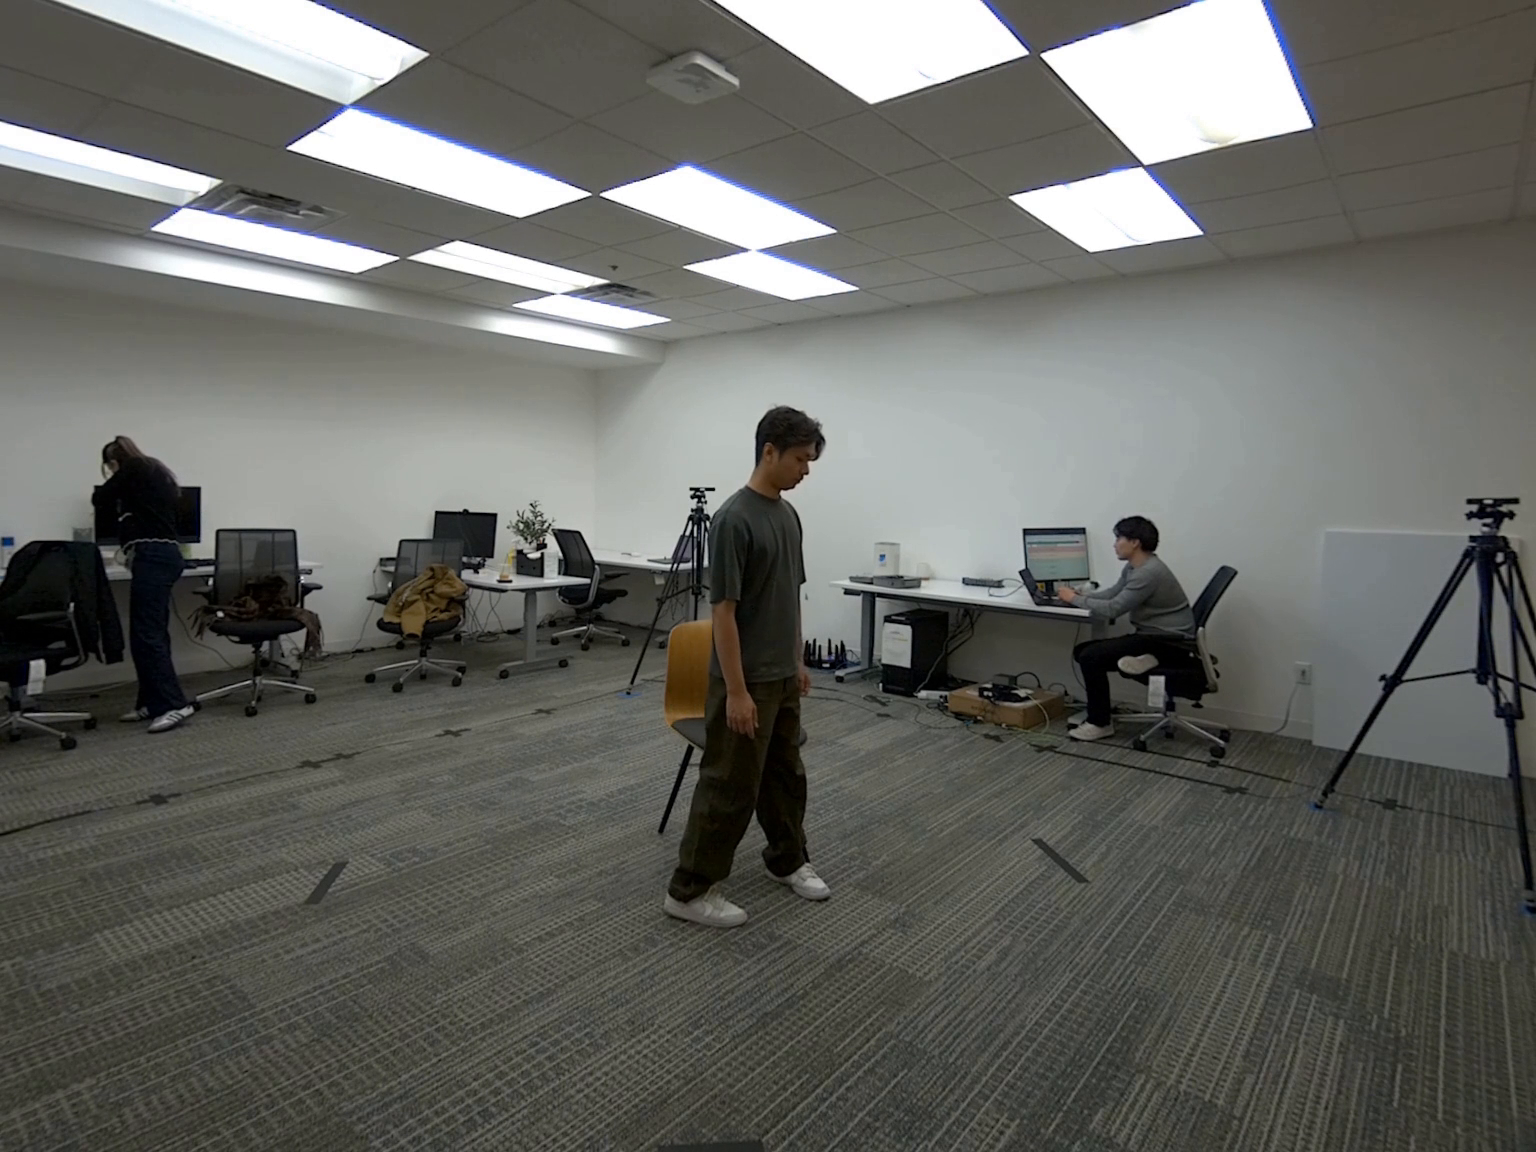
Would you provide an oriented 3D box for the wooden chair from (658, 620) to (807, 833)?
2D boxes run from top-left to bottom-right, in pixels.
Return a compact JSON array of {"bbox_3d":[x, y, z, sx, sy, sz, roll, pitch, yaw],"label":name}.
[{"bbox_3d":[-0.145,0.621,3.264,0.467,0.878,0.535,0,0,-23],"label":"wooden chair"}]
